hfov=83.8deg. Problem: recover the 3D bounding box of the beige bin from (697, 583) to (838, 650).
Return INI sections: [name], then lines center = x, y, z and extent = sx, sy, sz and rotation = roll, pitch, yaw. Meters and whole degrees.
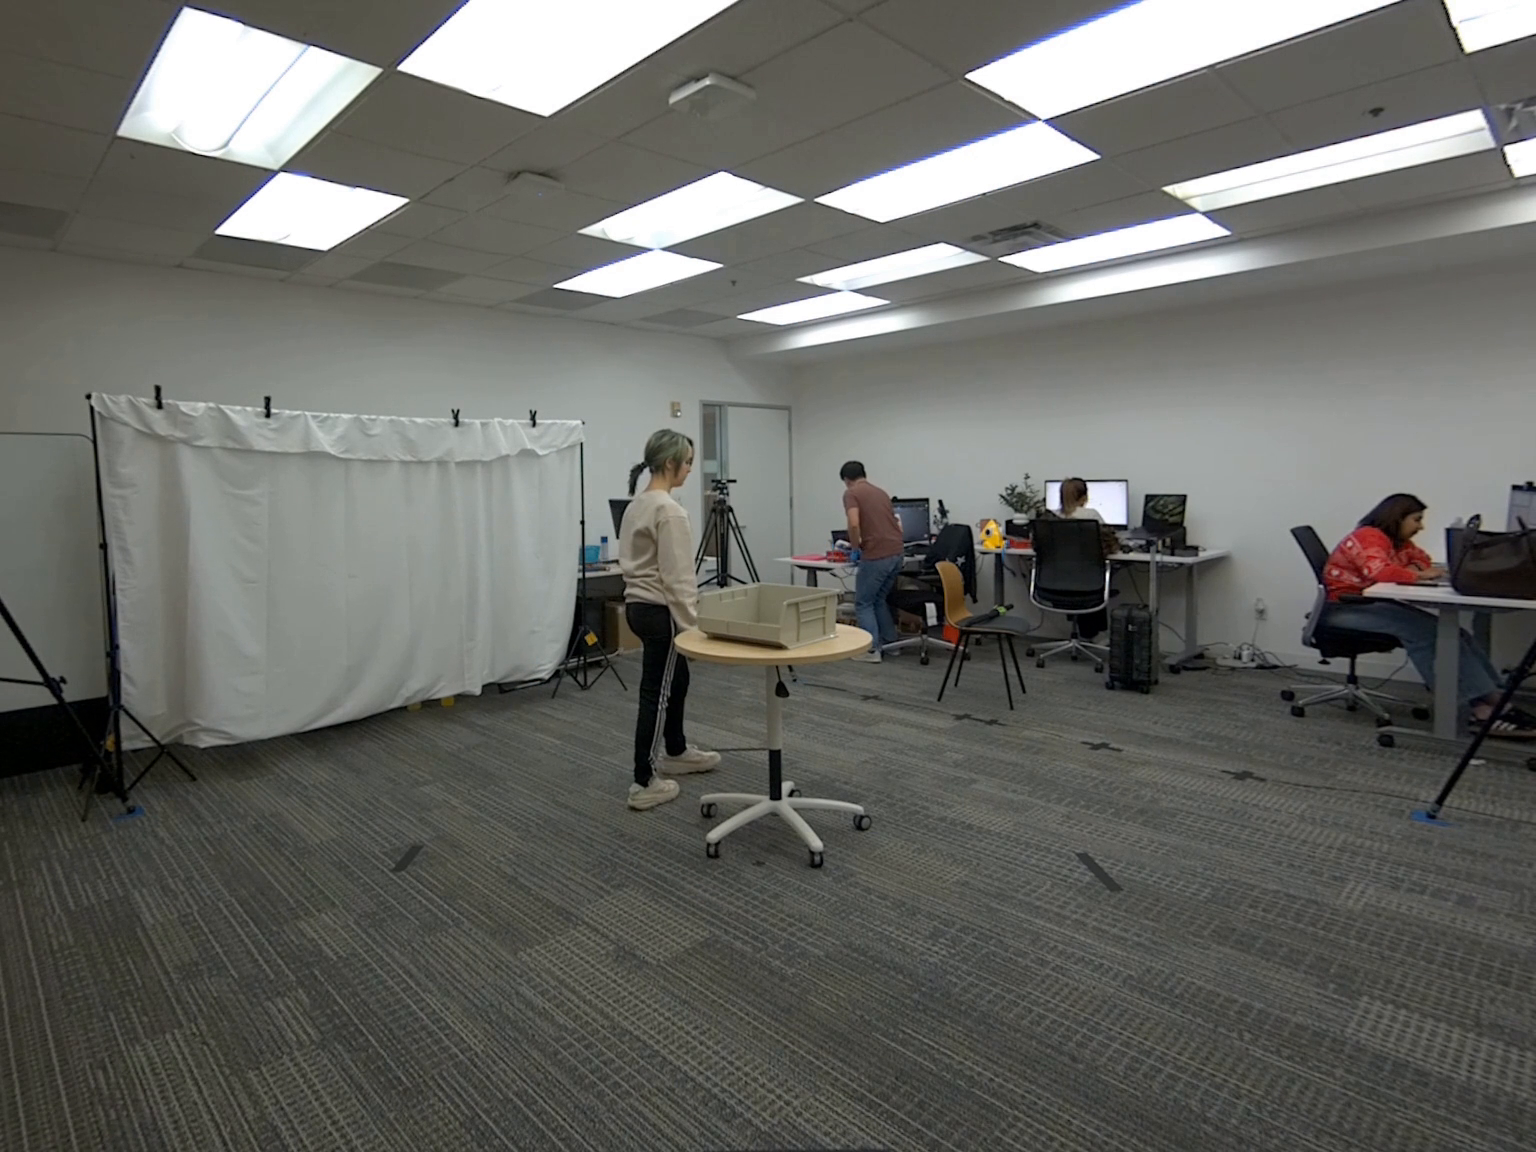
[beige bin]
center = 0.000, 0.150, 3.298
extent = 0.435, 0.188, 0.367
rotation = 4, 7, 41
